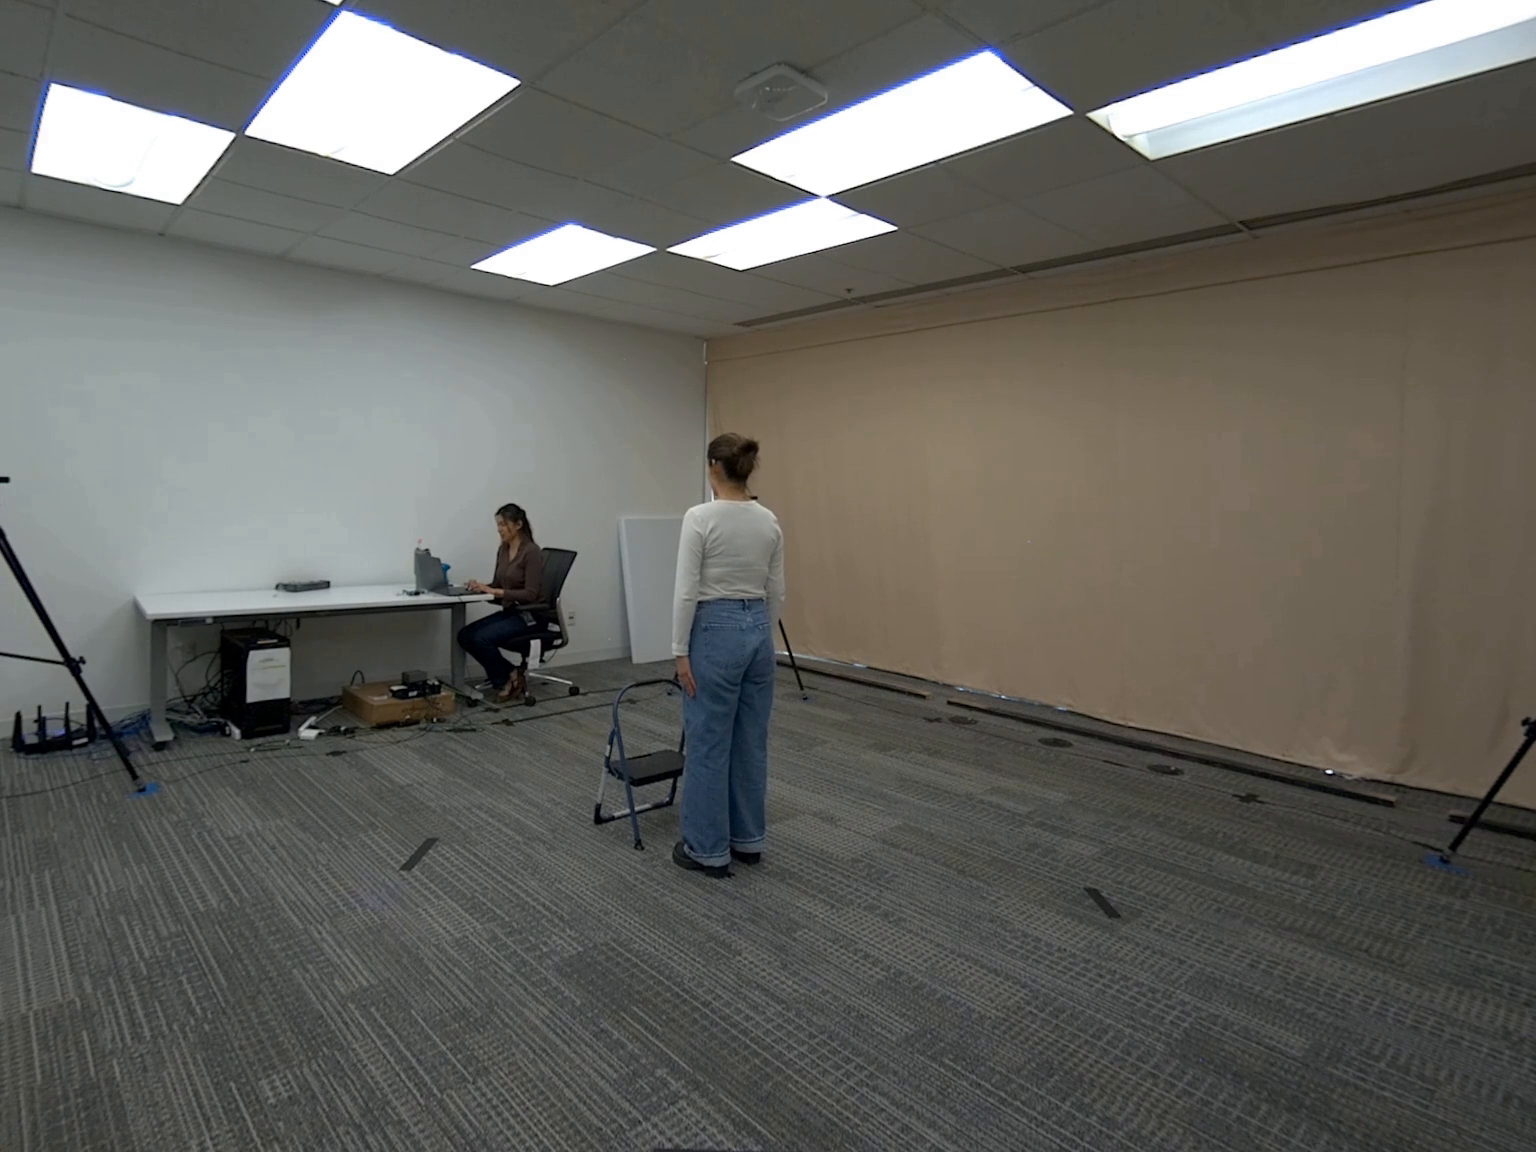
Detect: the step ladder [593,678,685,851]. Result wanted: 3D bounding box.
[{"bbox_3d":[-0.471,0.754,3.551,0.421,0.604,0.358,-2,5,-43],"label":"step ladder"}]
